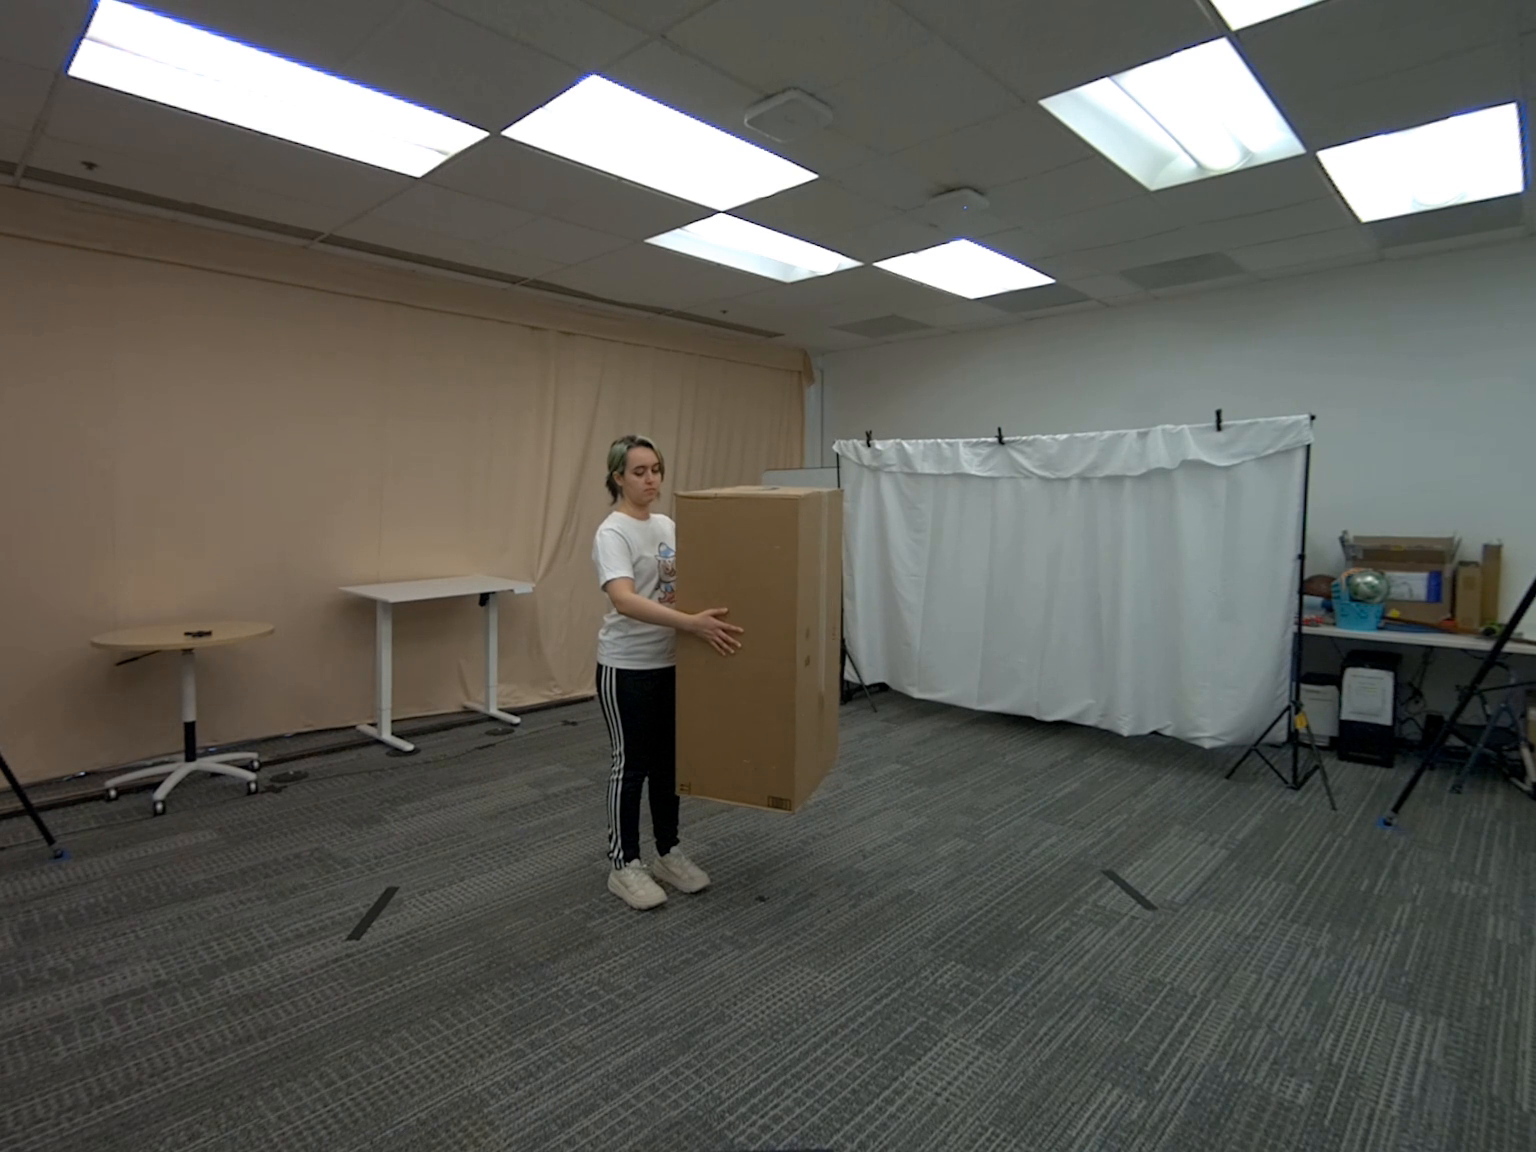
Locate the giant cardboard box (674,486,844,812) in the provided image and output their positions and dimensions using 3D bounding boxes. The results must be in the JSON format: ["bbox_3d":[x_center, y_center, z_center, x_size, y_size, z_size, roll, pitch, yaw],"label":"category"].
[{"bbox_3d":[-0.016,0.210,2.955,0.436,1.021,0.567,3,7,21],"label":"giant cardboard box"}]
